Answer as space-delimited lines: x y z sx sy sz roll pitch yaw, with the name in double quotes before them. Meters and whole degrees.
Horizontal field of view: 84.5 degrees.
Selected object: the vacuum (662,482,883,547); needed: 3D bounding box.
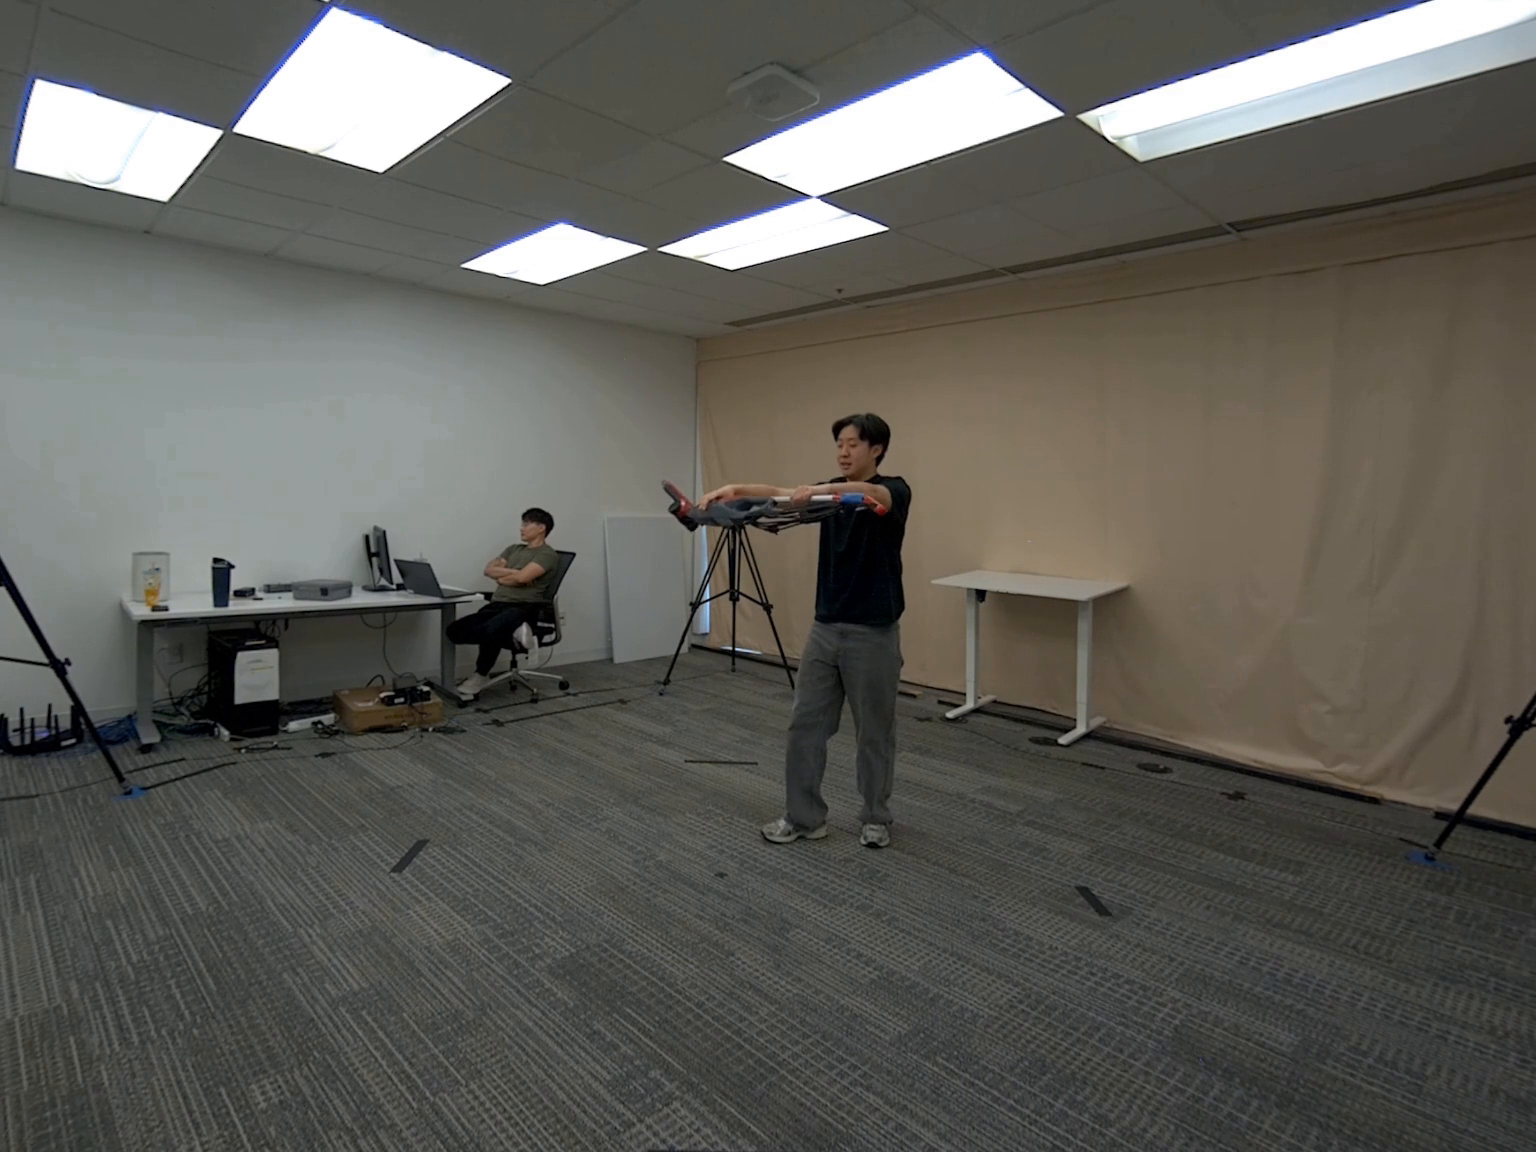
"vacuum" -0.010 -0.232 2.950 0.245 0.145 1.075 34 -17 -36
